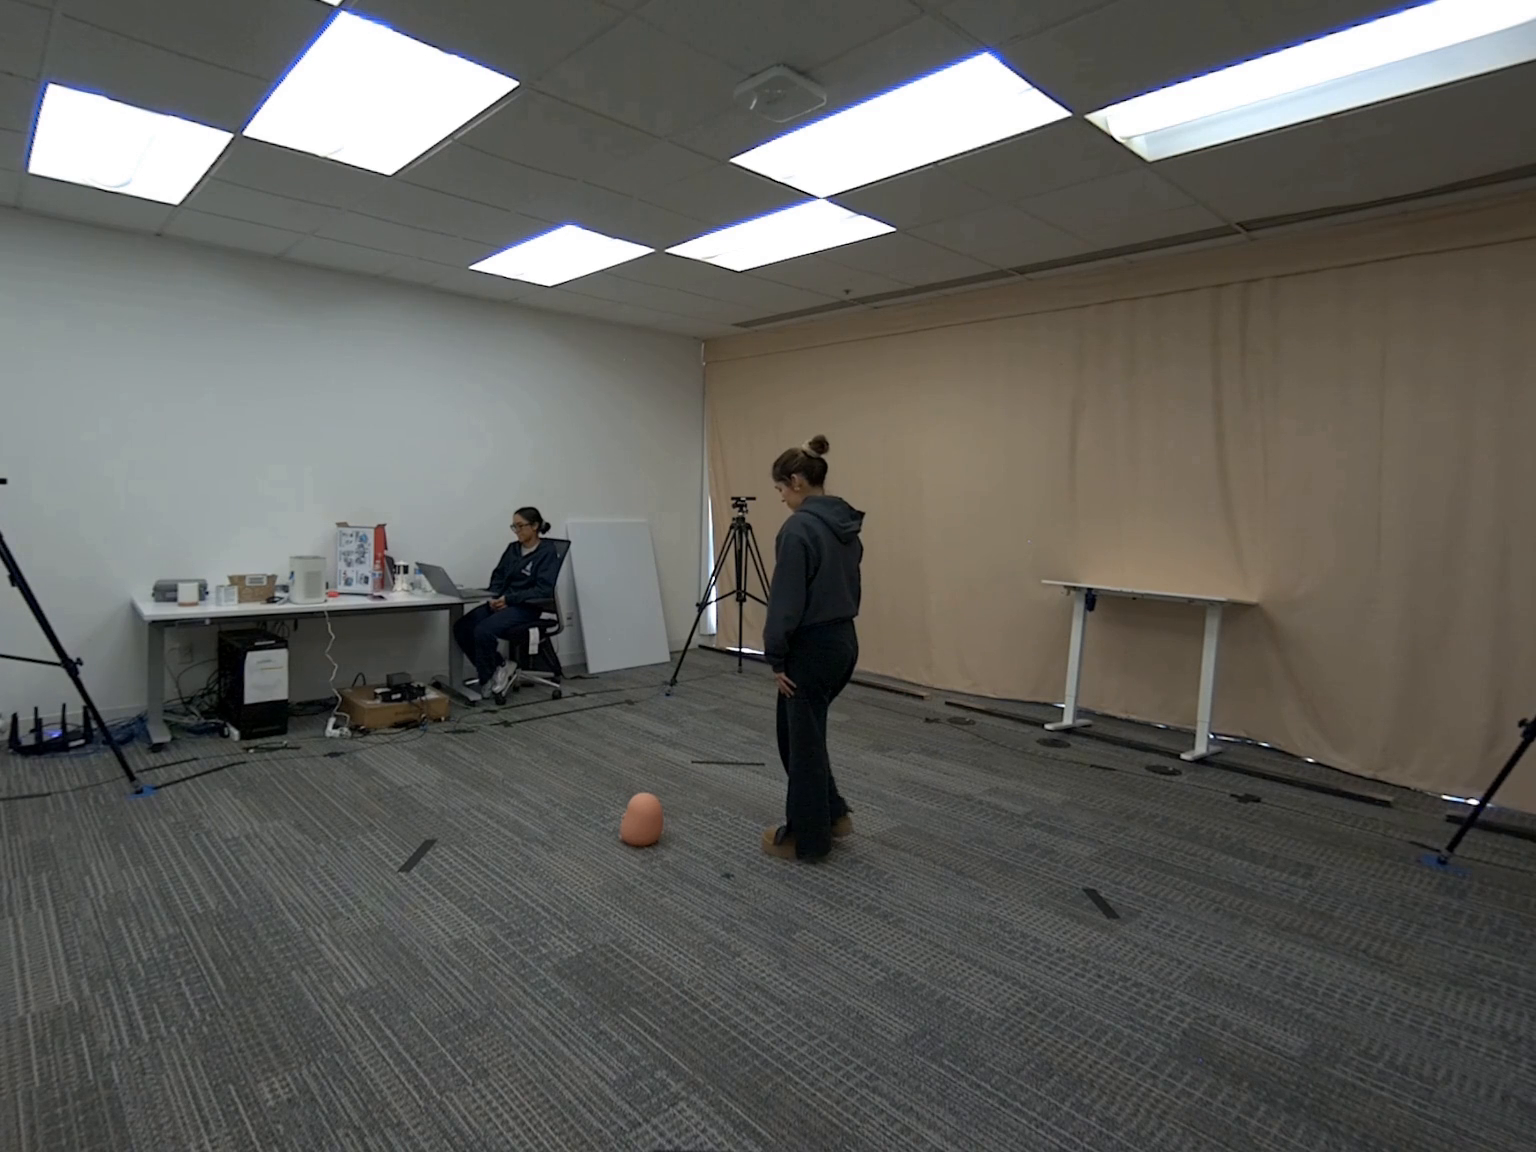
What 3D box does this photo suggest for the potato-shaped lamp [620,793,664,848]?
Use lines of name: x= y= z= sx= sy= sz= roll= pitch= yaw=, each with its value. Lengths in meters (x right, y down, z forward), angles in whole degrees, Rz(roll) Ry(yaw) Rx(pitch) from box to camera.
potato-shaped lamp: x=-0.509 y=0.968 z=3.401 sx=0.176 sy=0.197 sz=0.161 roll=7 pitch=7 yaw=40
